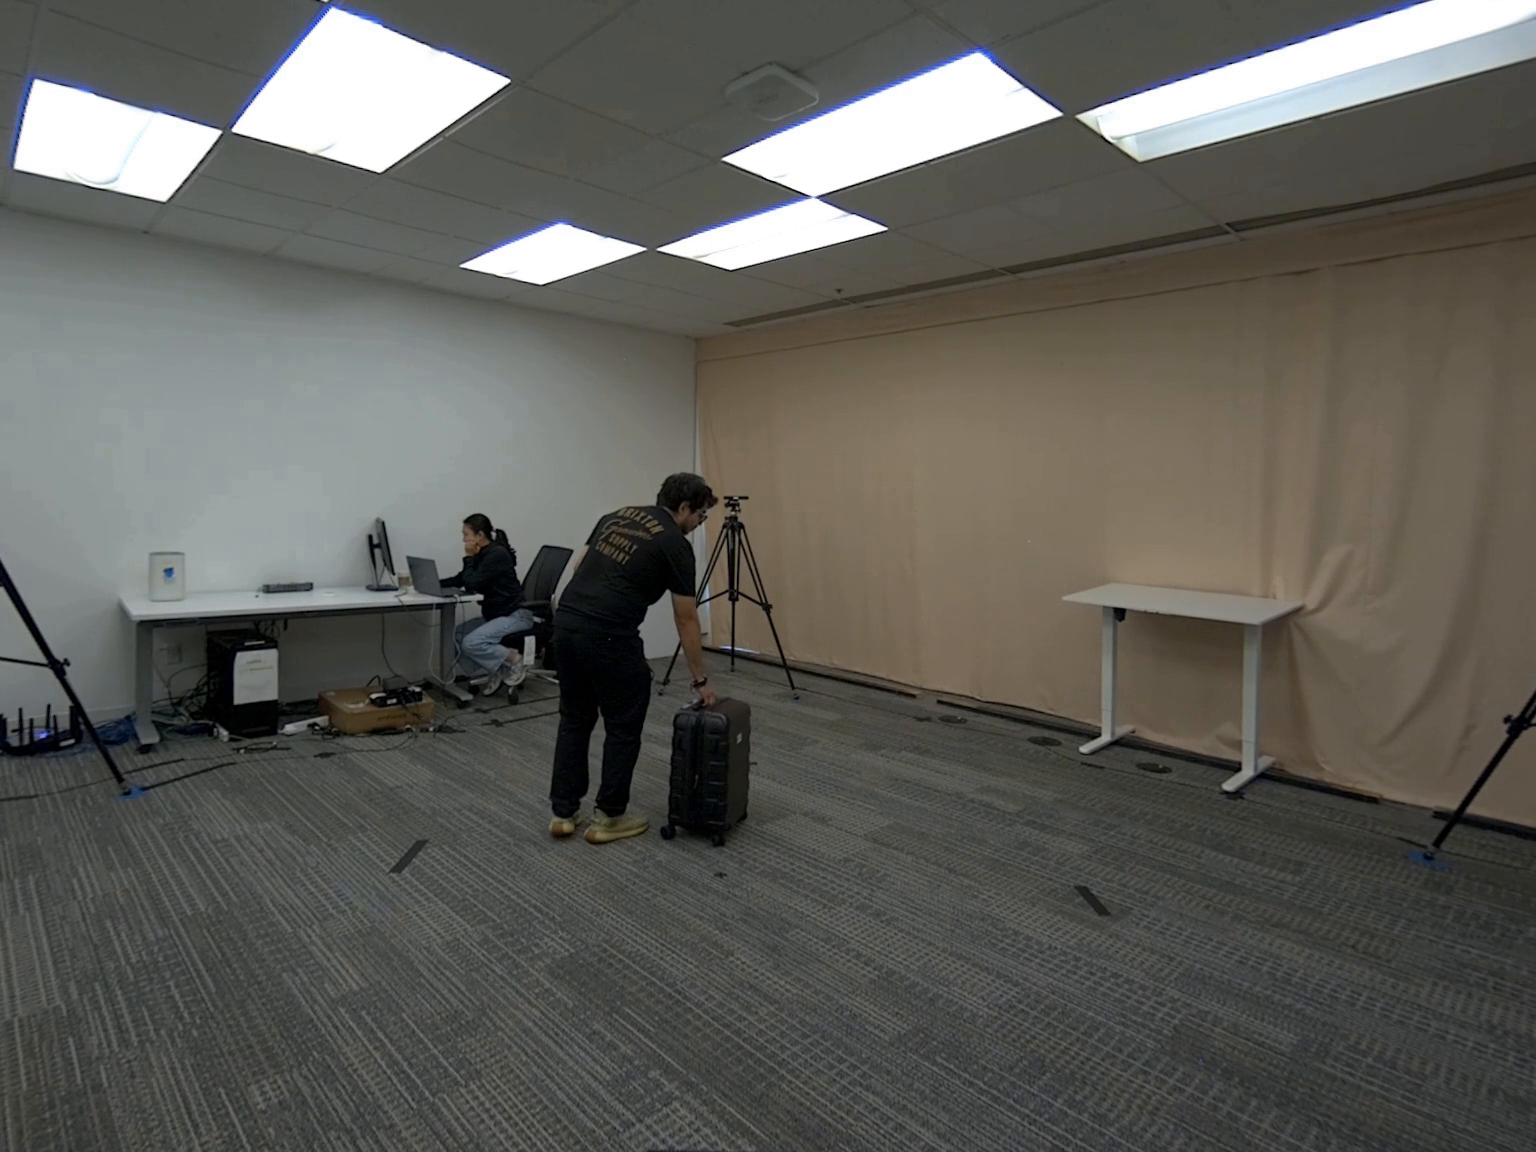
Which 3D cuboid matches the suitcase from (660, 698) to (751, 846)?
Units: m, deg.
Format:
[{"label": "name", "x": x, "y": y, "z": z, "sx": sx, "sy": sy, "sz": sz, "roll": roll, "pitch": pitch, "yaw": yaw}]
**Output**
[{"label": "suitcase", "x": -0.252, "y": 0.793, "z": 3.508, "sx": 0.252, "sy": 0.547, "sz": 0.371, "roll": 6, "pitch": 5, "yaw": 16}]
